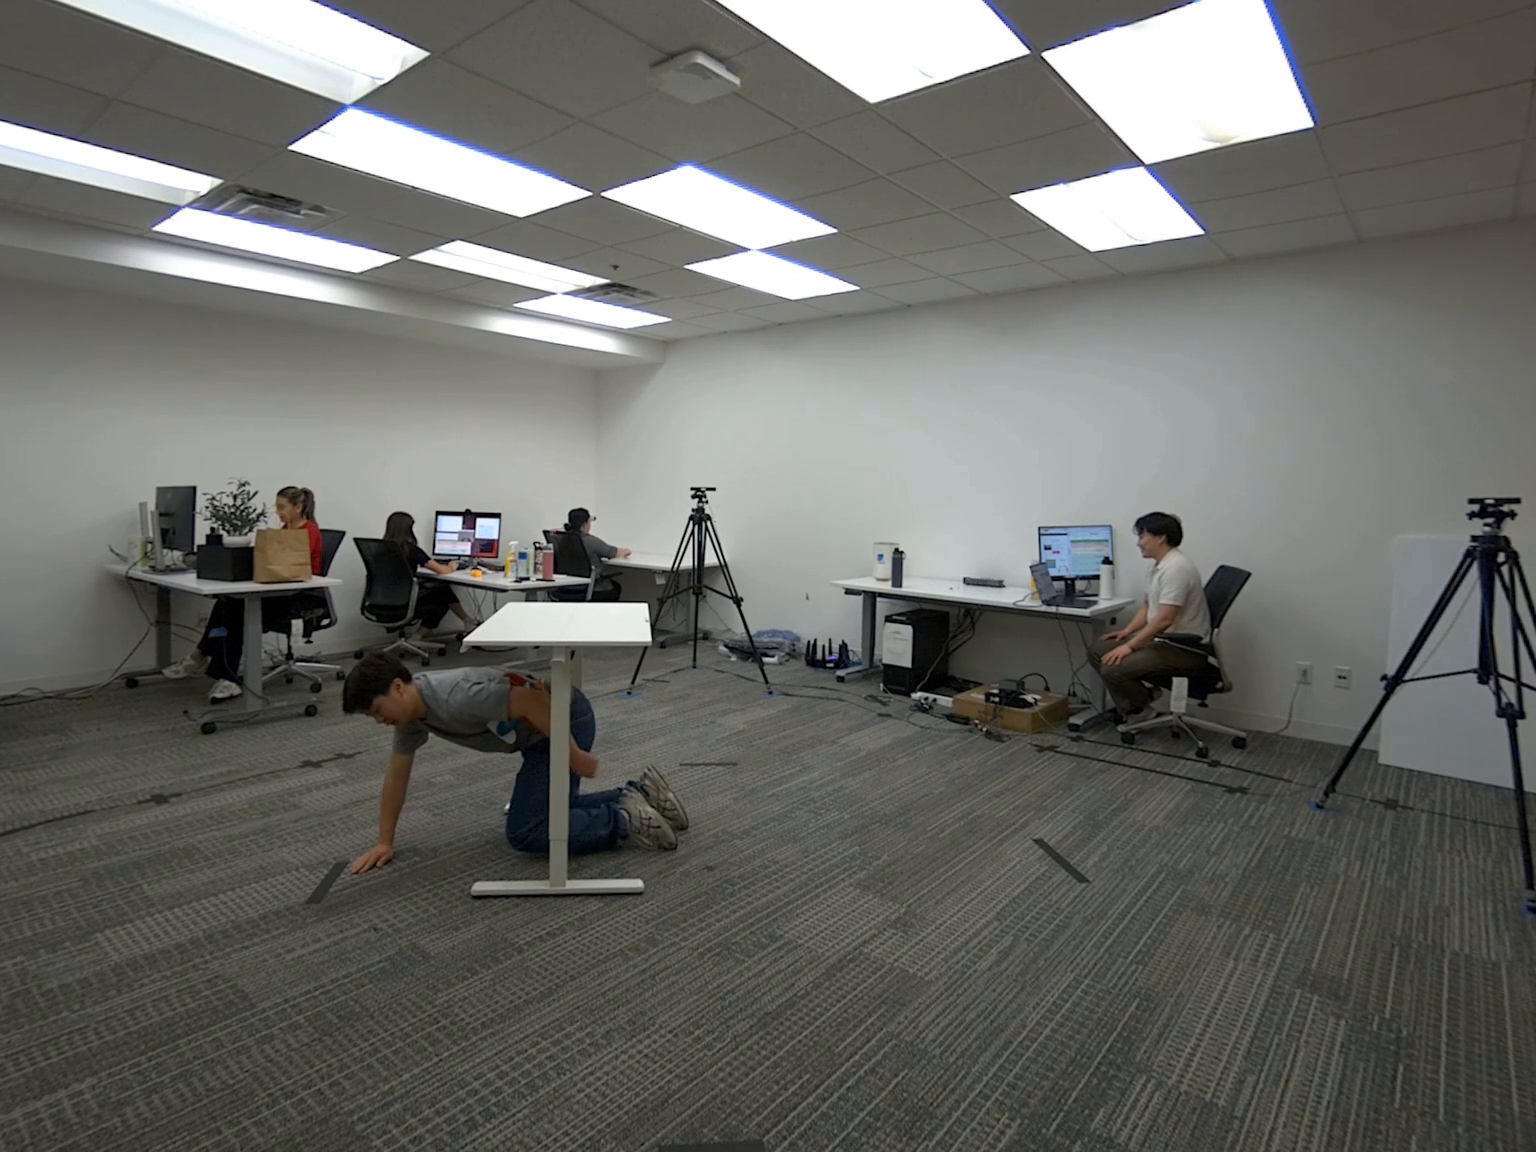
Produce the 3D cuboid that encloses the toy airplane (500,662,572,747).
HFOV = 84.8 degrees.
[{"bbox_3d":[-0.893,0.479,3.169,0.249,0.259,0.157,7,-2,-6],"label":"toy airplane"}]
